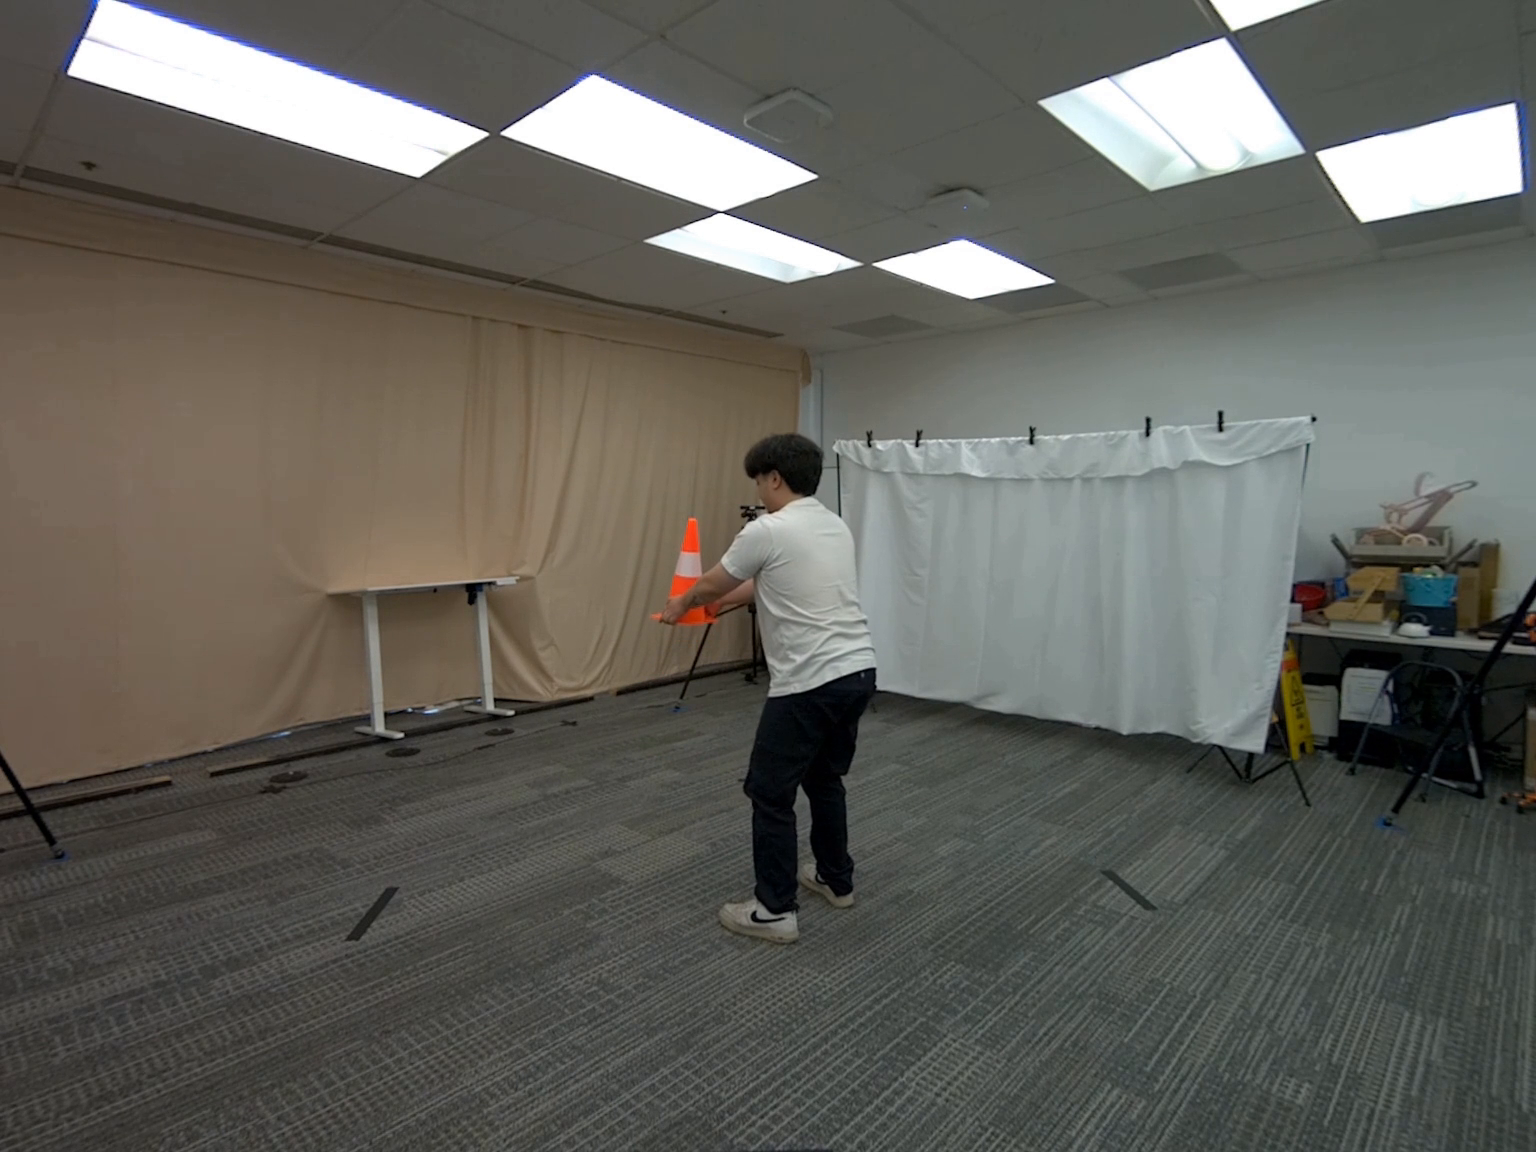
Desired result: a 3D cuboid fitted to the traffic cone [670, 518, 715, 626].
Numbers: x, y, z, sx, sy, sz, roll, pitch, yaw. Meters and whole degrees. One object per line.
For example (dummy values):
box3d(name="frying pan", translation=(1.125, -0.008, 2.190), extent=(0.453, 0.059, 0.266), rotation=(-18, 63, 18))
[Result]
box3d(name="traffic cone", translation=(-0.306, -0.023, 3.192), extent=(0.209, 0.382, 0.200), rotation=(9, 7, 24))
